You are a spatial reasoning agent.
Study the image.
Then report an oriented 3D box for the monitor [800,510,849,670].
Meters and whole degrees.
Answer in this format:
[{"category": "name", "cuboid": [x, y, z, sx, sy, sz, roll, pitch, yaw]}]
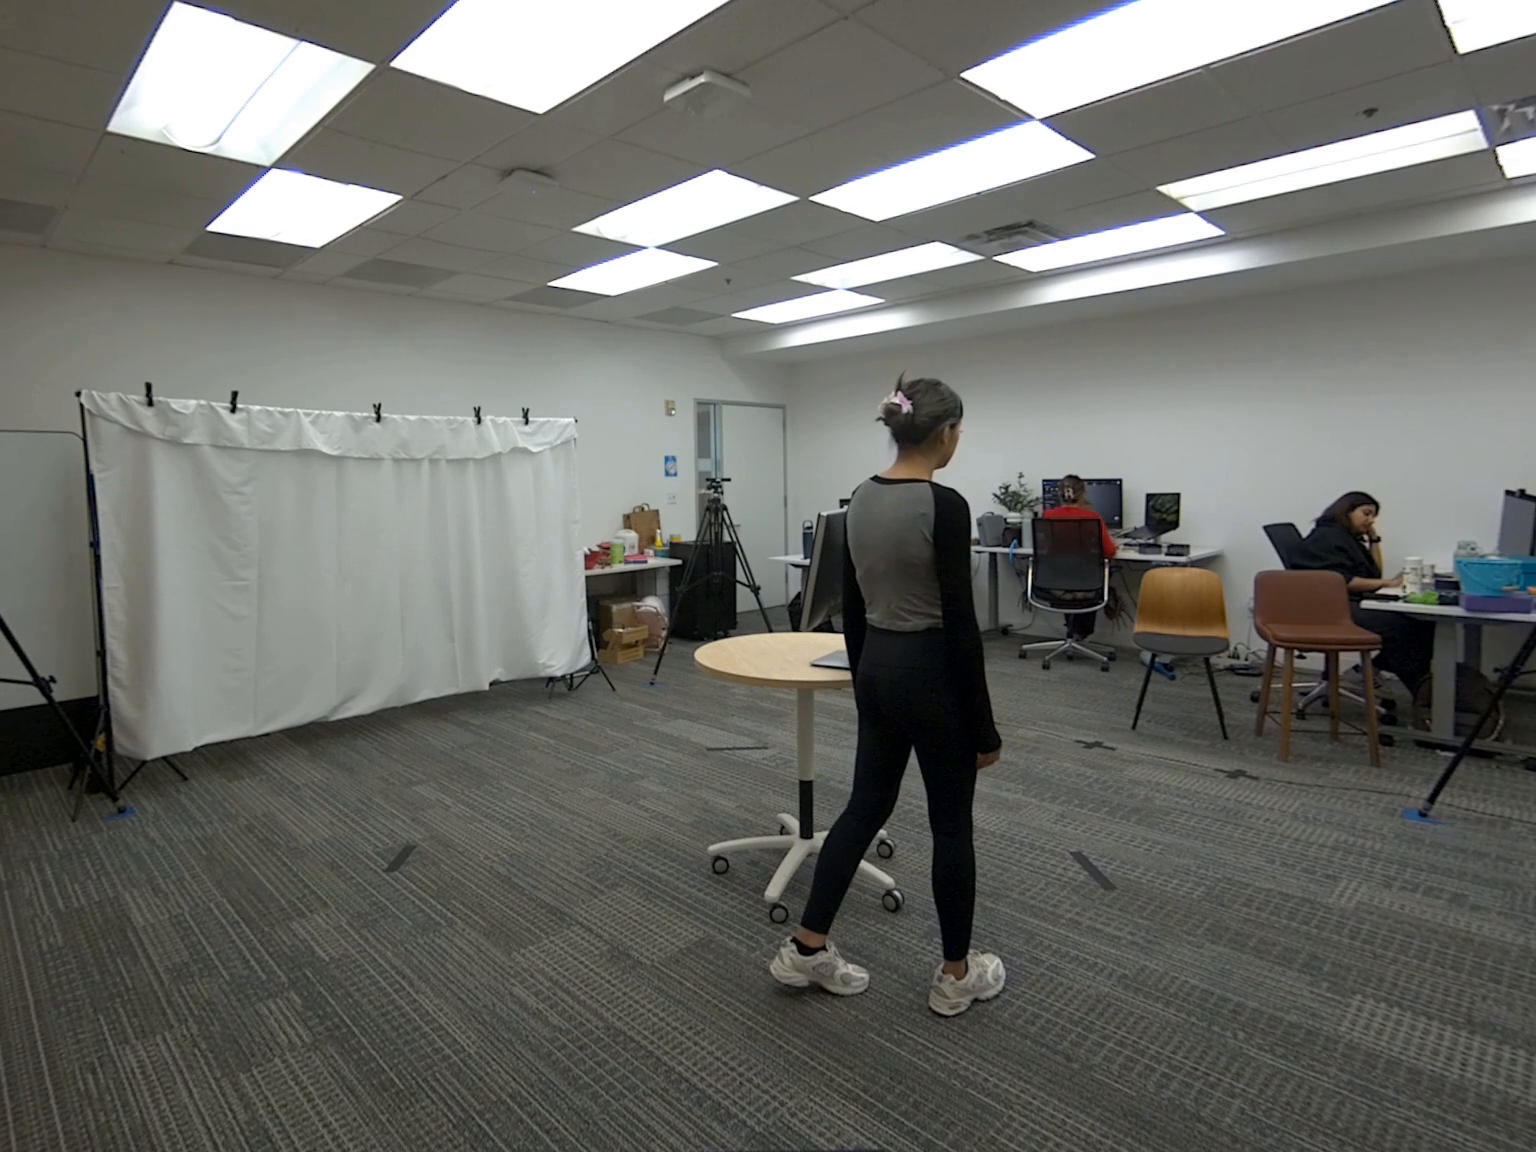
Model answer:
[{"category": "monitor", "cuboid": [0.281, 0.042, 2.786, 0.191, 0.520, 0.531, -1, 6, 22]}]
